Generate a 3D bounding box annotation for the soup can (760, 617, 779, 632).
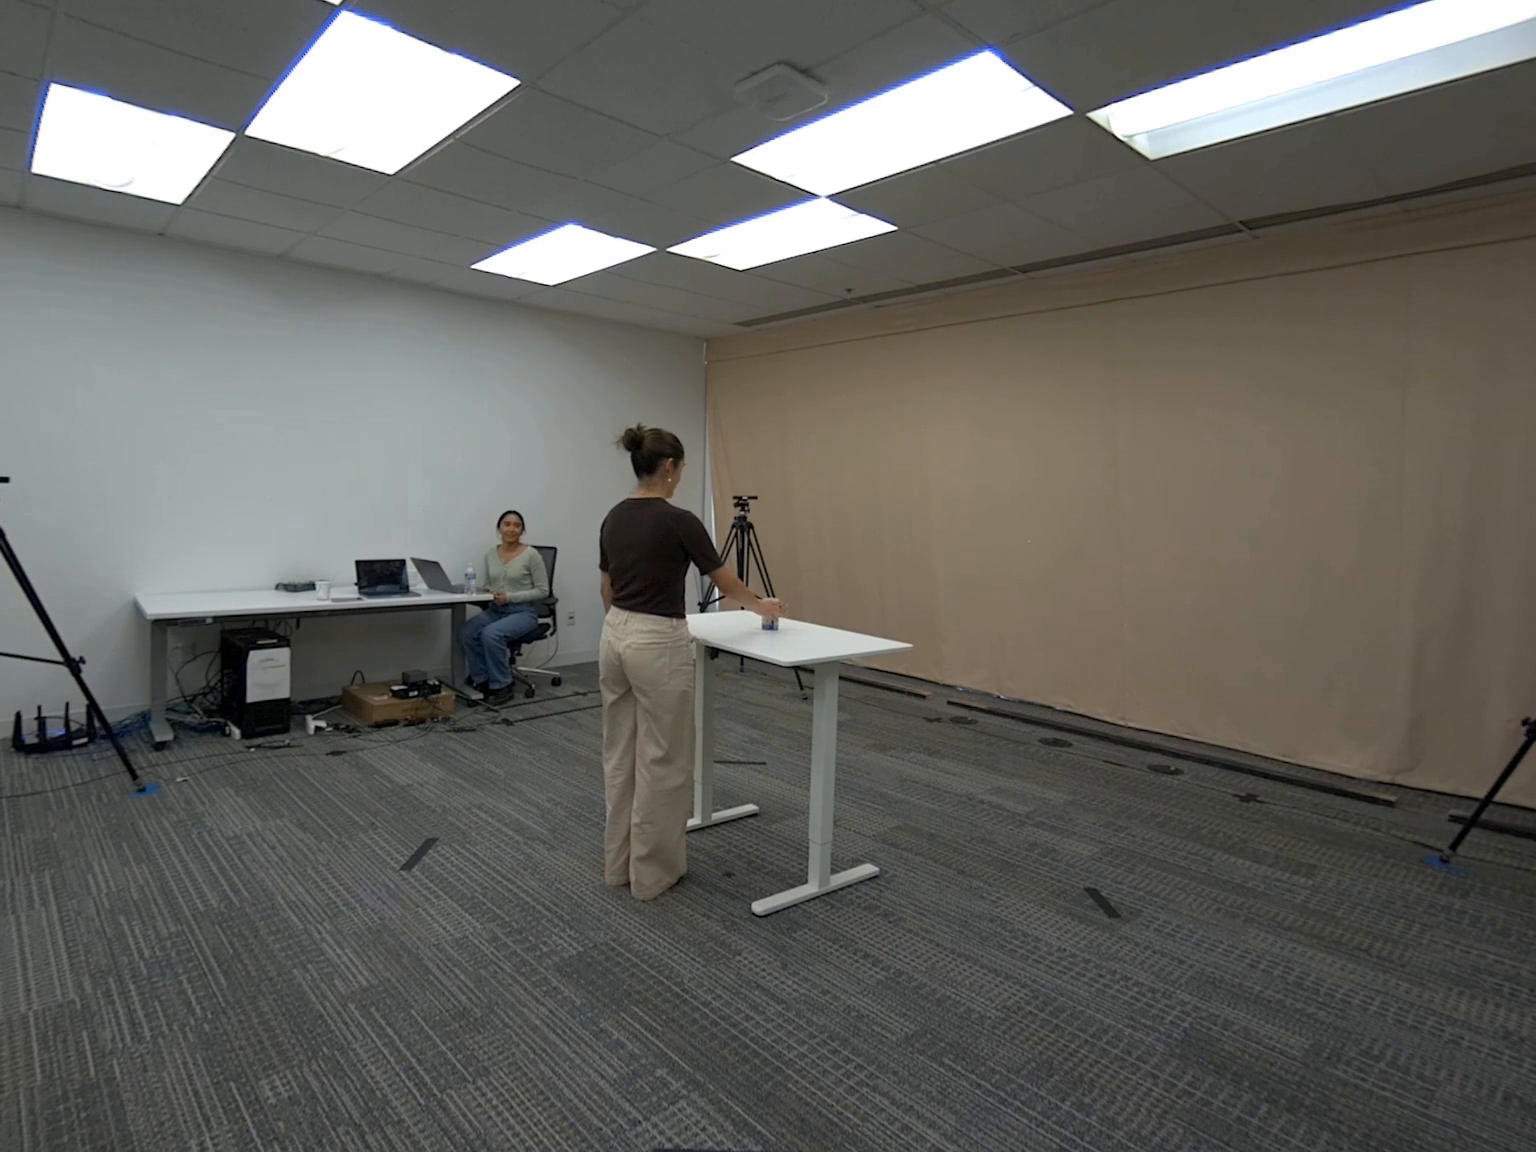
[{"bbox_3d":[0.003,0.151,3.267,0.067,0.121,0.067,3,3,-2],"label":"soup can"}]
